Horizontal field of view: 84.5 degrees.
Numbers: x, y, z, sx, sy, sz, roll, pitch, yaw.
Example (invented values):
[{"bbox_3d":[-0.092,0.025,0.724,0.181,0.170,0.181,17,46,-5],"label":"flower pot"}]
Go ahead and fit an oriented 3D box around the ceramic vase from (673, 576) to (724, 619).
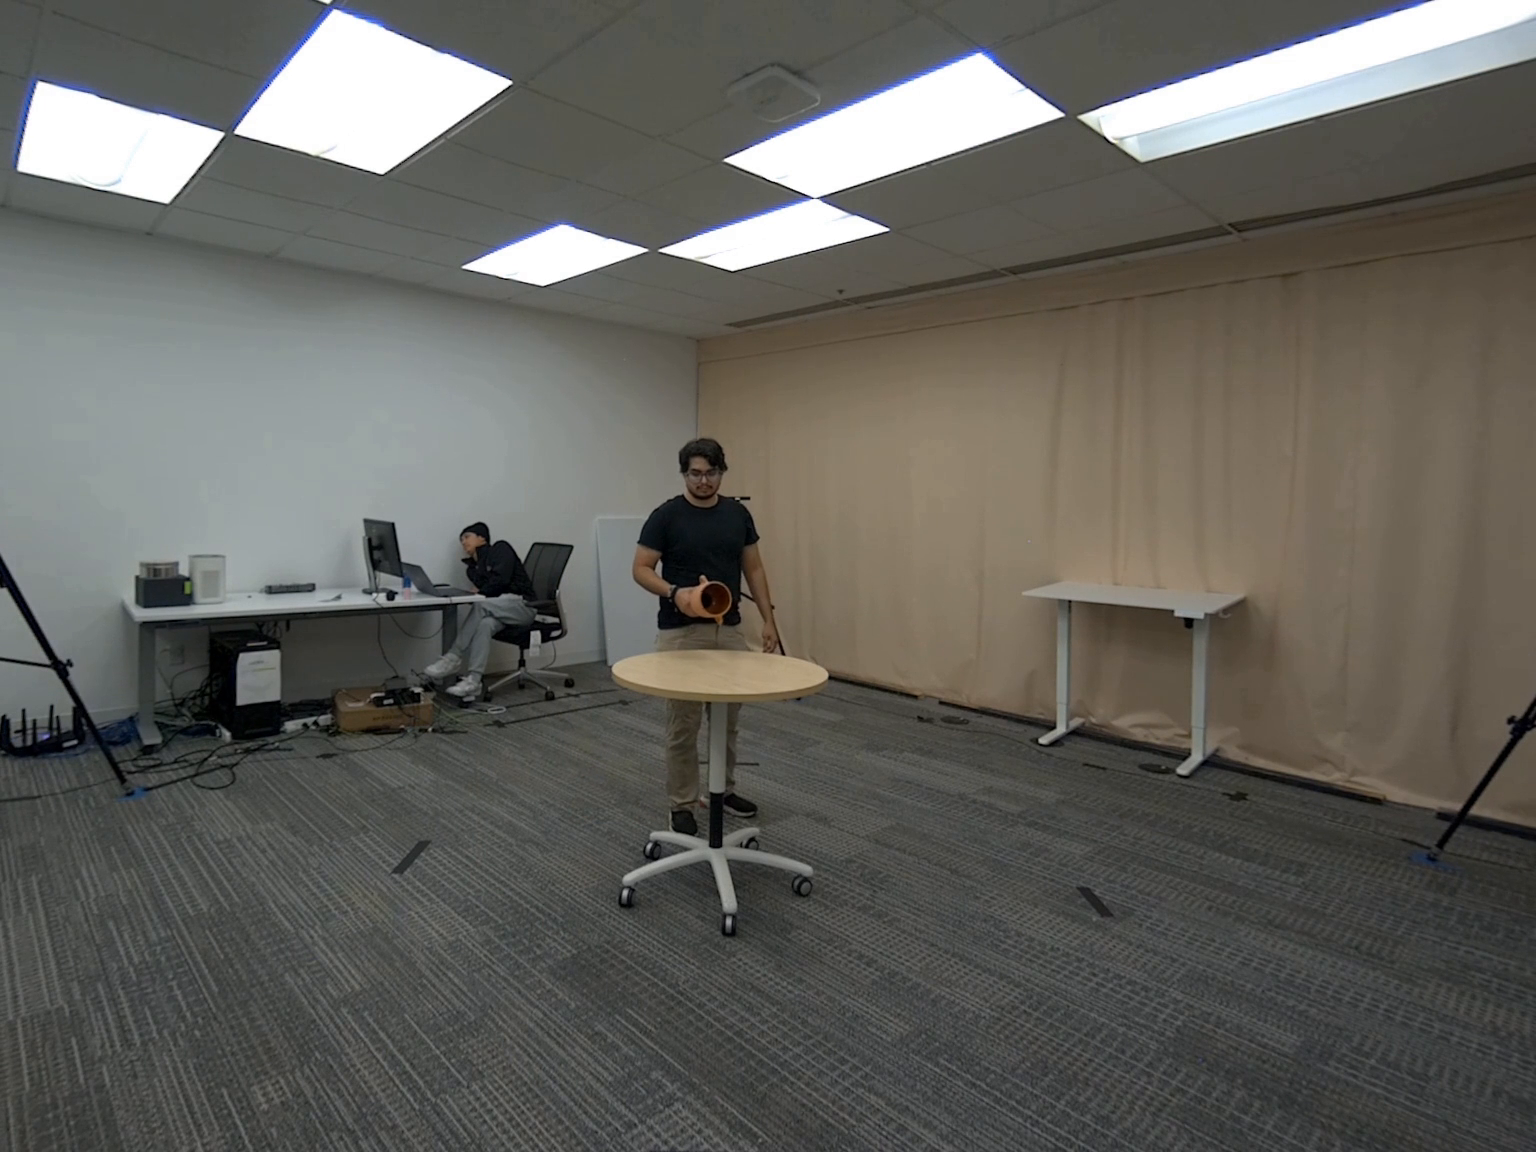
[{"bbox_3d":[-0.255,0.091,3.268,0.132,0.160,0.222,19,-13,-20],"label":"ceramic vase"}]
